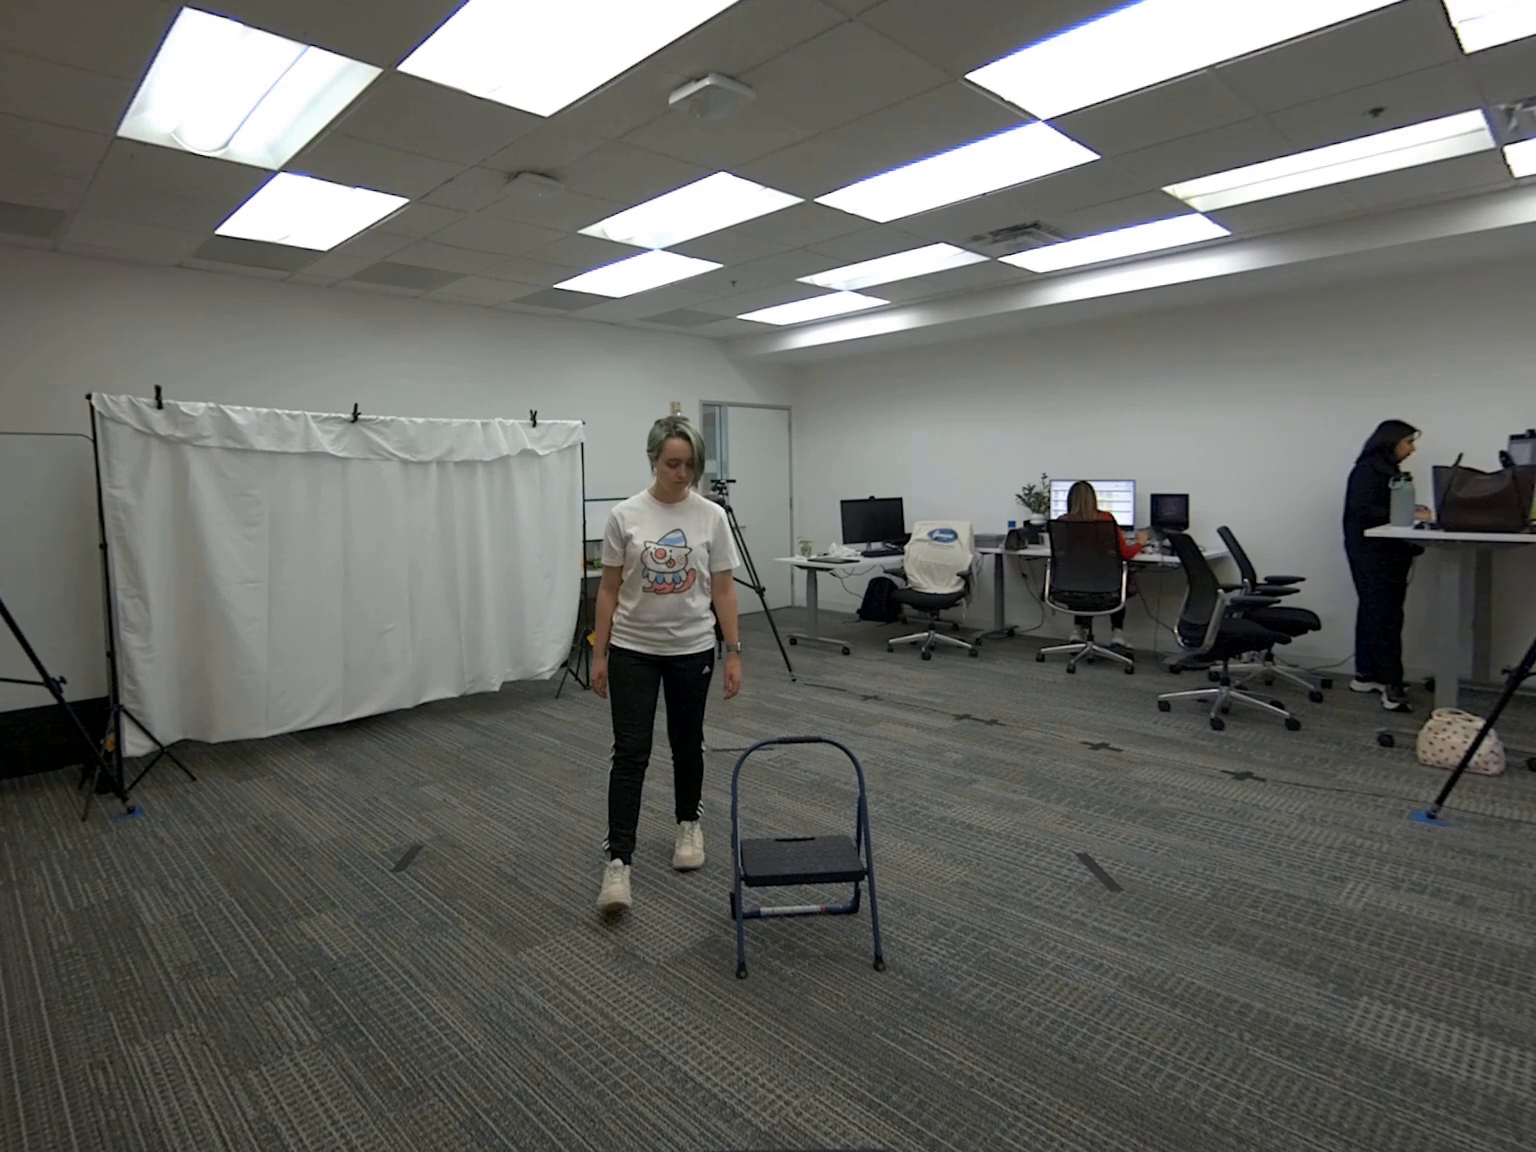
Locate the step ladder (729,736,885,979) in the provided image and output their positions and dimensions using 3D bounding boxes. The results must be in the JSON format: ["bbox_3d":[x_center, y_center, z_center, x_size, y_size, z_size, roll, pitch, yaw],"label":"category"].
[{"bbox_3d":[0.103,0.806,2.563,0.428,0.604,0.352,-1,4,-5],"label":"step ladder"}]
